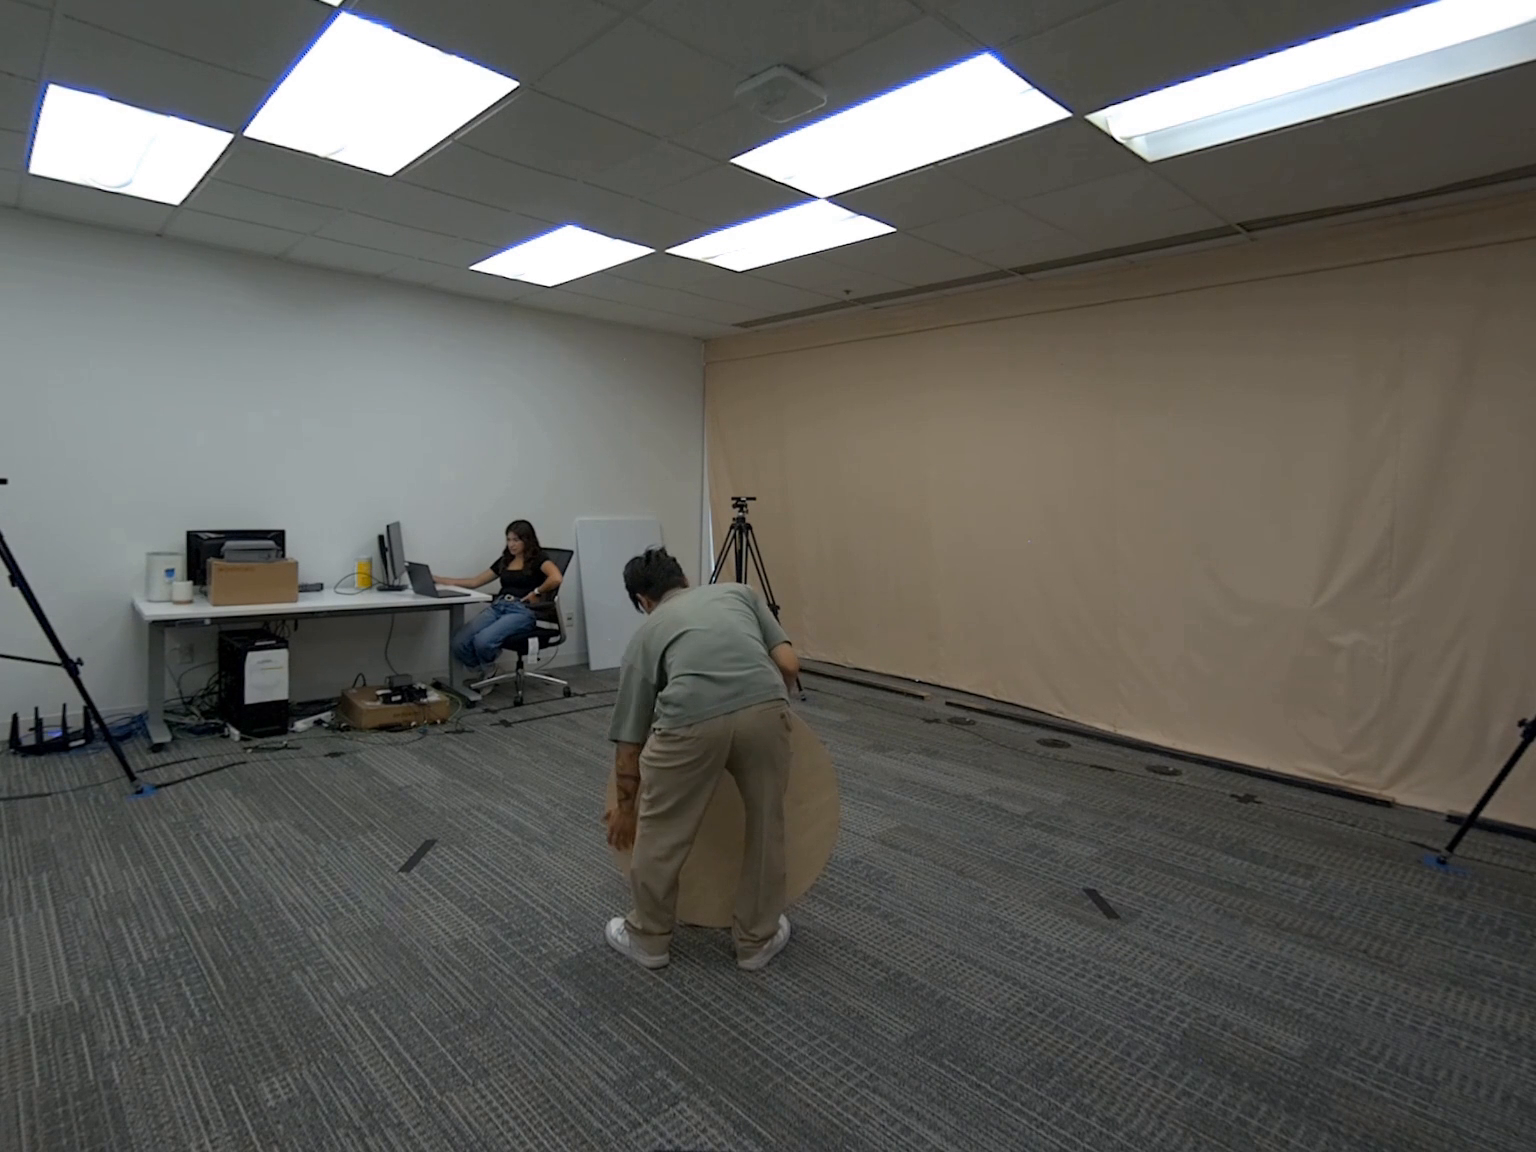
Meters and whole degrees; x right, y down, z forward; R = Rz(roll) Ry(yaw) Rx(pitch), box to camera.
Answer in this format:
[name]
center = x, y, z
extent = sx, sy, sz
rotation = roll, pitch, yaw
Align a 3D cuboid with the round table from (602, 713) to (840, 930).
[round table]
center = -0.185, 0.741, 3.138
extent = 0.783, 0.785, 0.788
rotation = 1, 0, -4
